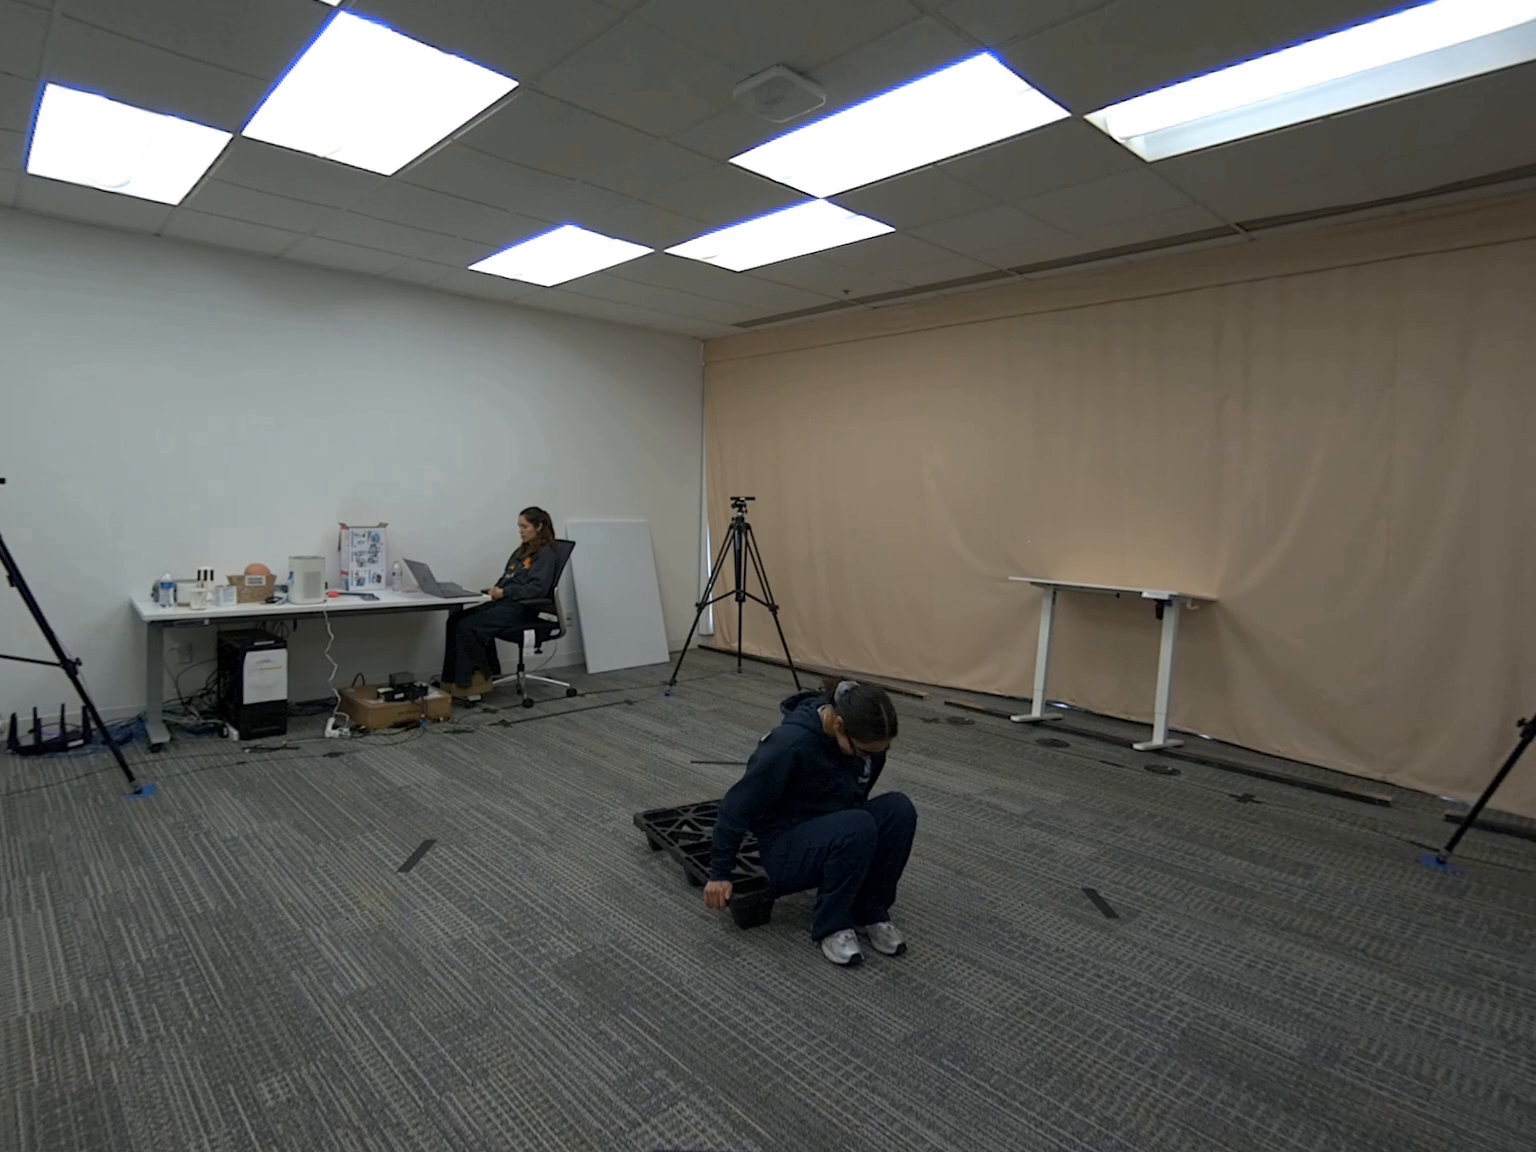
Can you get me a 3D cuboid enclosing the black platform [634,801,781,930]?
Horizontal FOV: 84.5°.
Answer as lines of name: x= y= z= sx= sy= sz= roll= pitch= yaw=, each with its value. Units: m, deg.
black platform: x=-0.085 y=1.038 z=3.148 sx=0.593 sy=0.143 sz=0.825 roll=-1 pitch=6 yaw=-31
